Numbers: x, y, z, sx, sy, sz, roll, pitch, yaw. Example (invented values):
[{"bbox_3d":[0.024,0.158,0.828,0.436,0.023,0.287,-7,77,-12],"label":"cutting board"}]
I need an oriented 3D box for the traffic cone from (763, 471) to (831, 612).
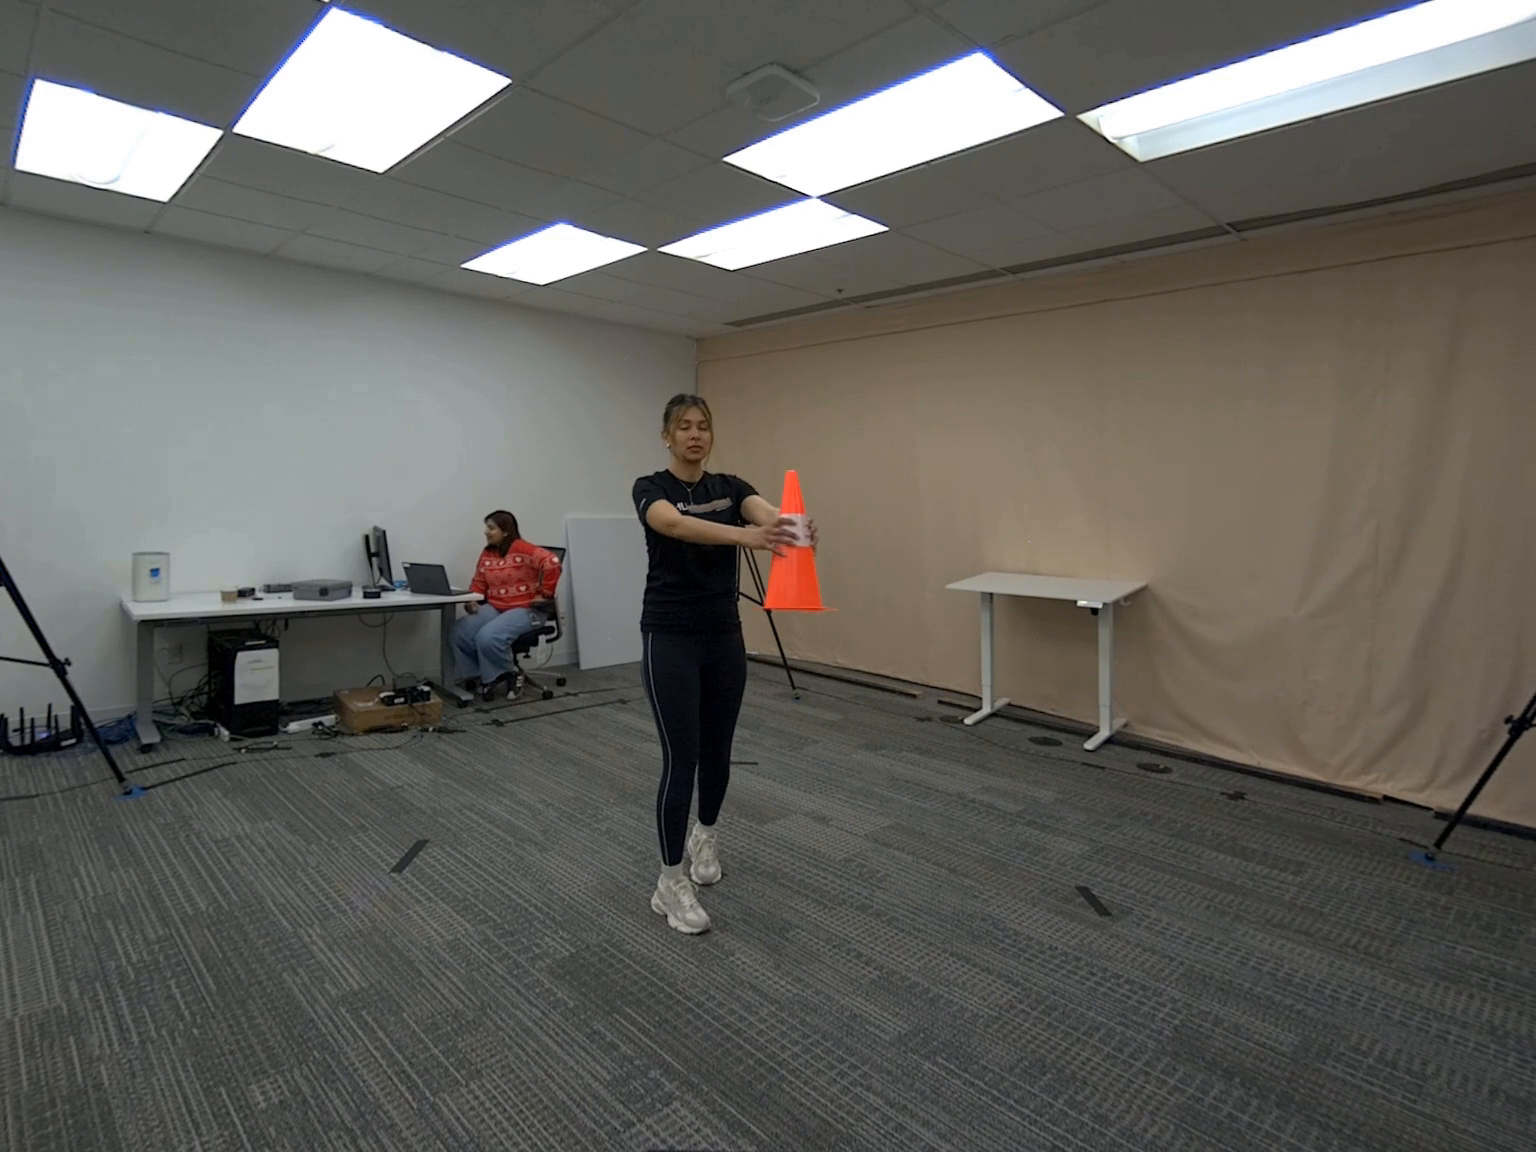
[{"bbox_3d":[0.058,-0.097,2.307,0.206,0.385,0.202,-1,-3,4],"label":"traffic cone"}]
